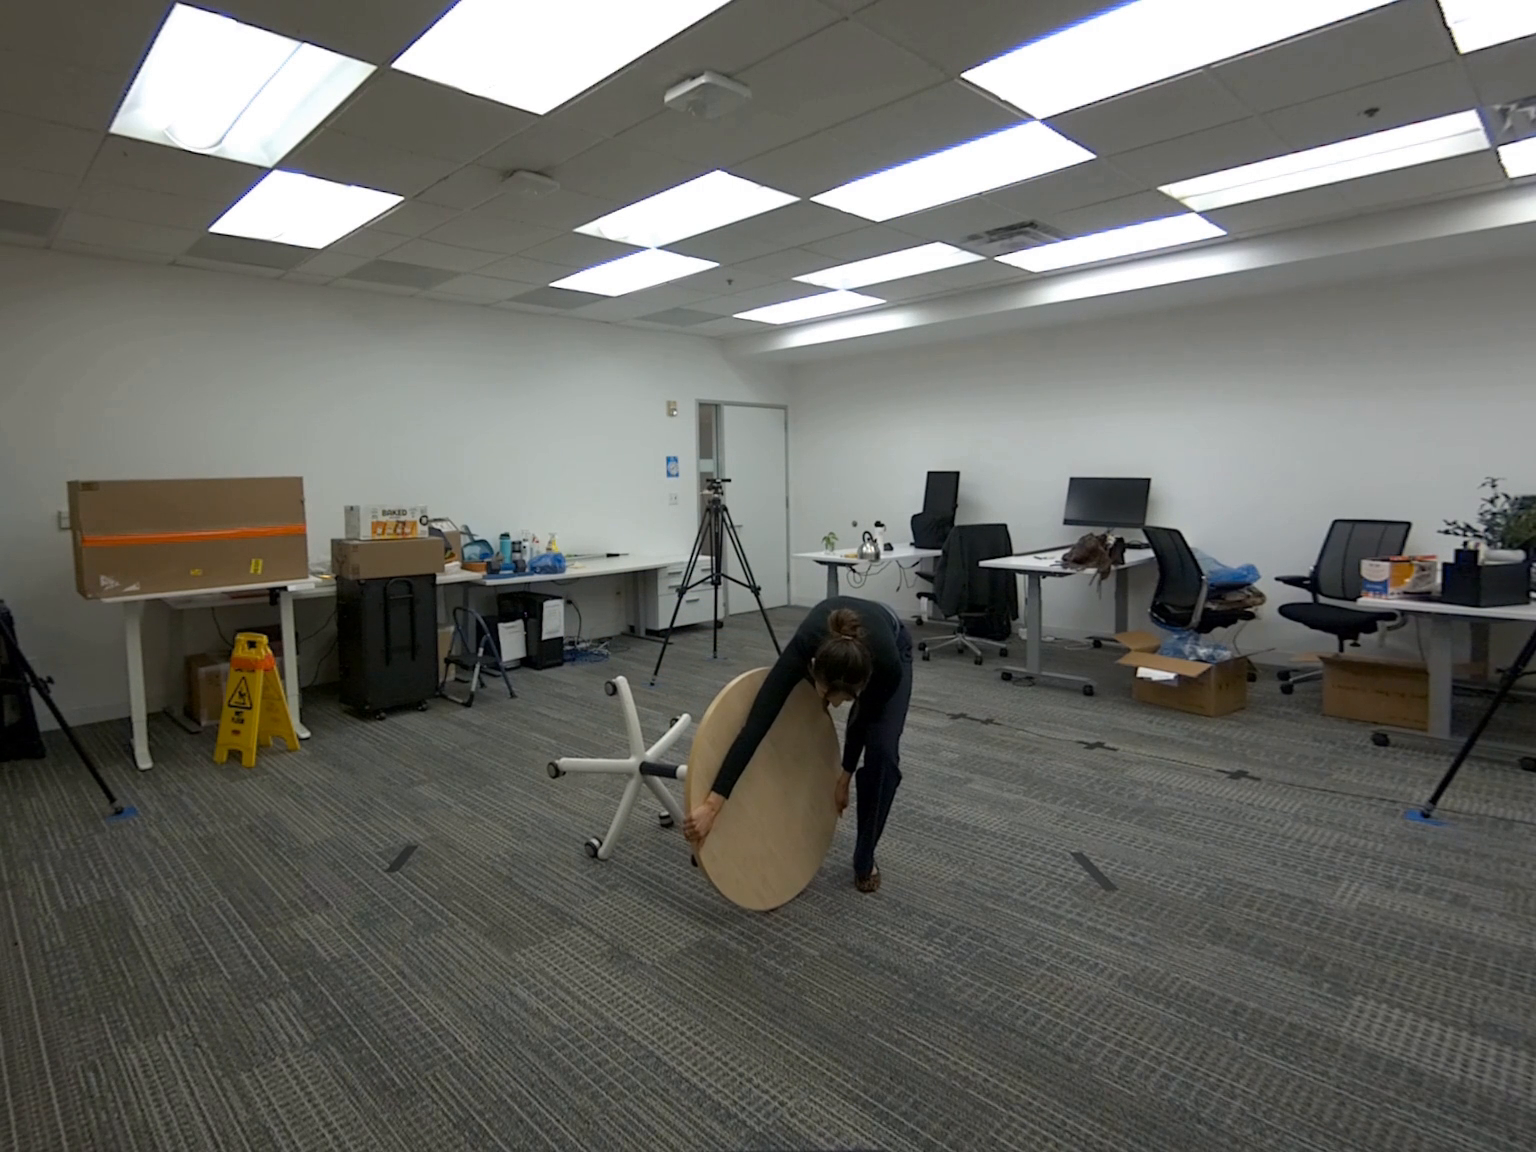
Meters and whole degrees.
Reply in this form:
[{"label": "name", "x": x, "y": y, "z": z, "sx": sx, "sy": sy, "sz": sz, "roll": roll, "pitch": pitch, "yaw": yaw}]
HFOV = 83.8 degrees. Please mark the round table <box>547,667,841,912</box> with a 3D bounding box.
[{"label": "round table", "x": -0.275, "y": 0.718, "z": 3.087, "sx": 0.814, "sy": 0.765, "sz": 0.744, "roll": -6, "pitch": 0, "yaw": 42}]
